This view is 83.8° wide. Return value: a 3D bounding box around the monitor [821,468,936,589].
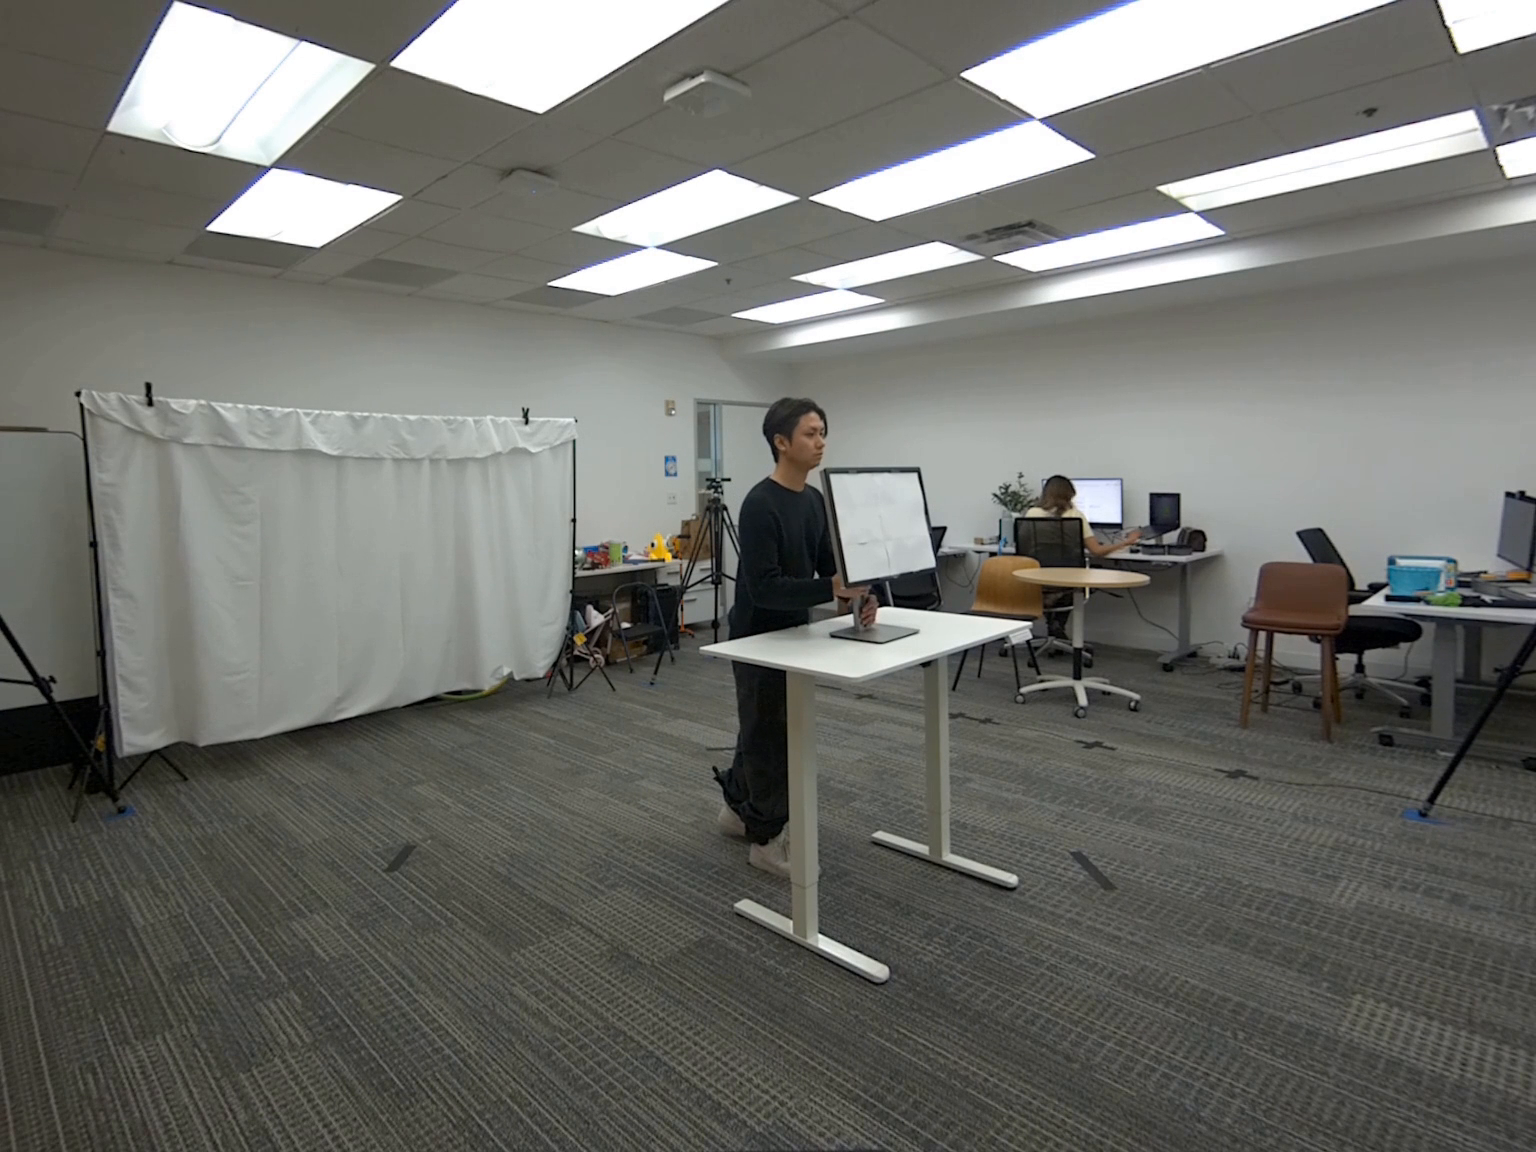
[{"bbox_3d":[0.343,-0.077,2.748,0.180,0.513,0.515,11,9,39],"label":"monitor"}]
